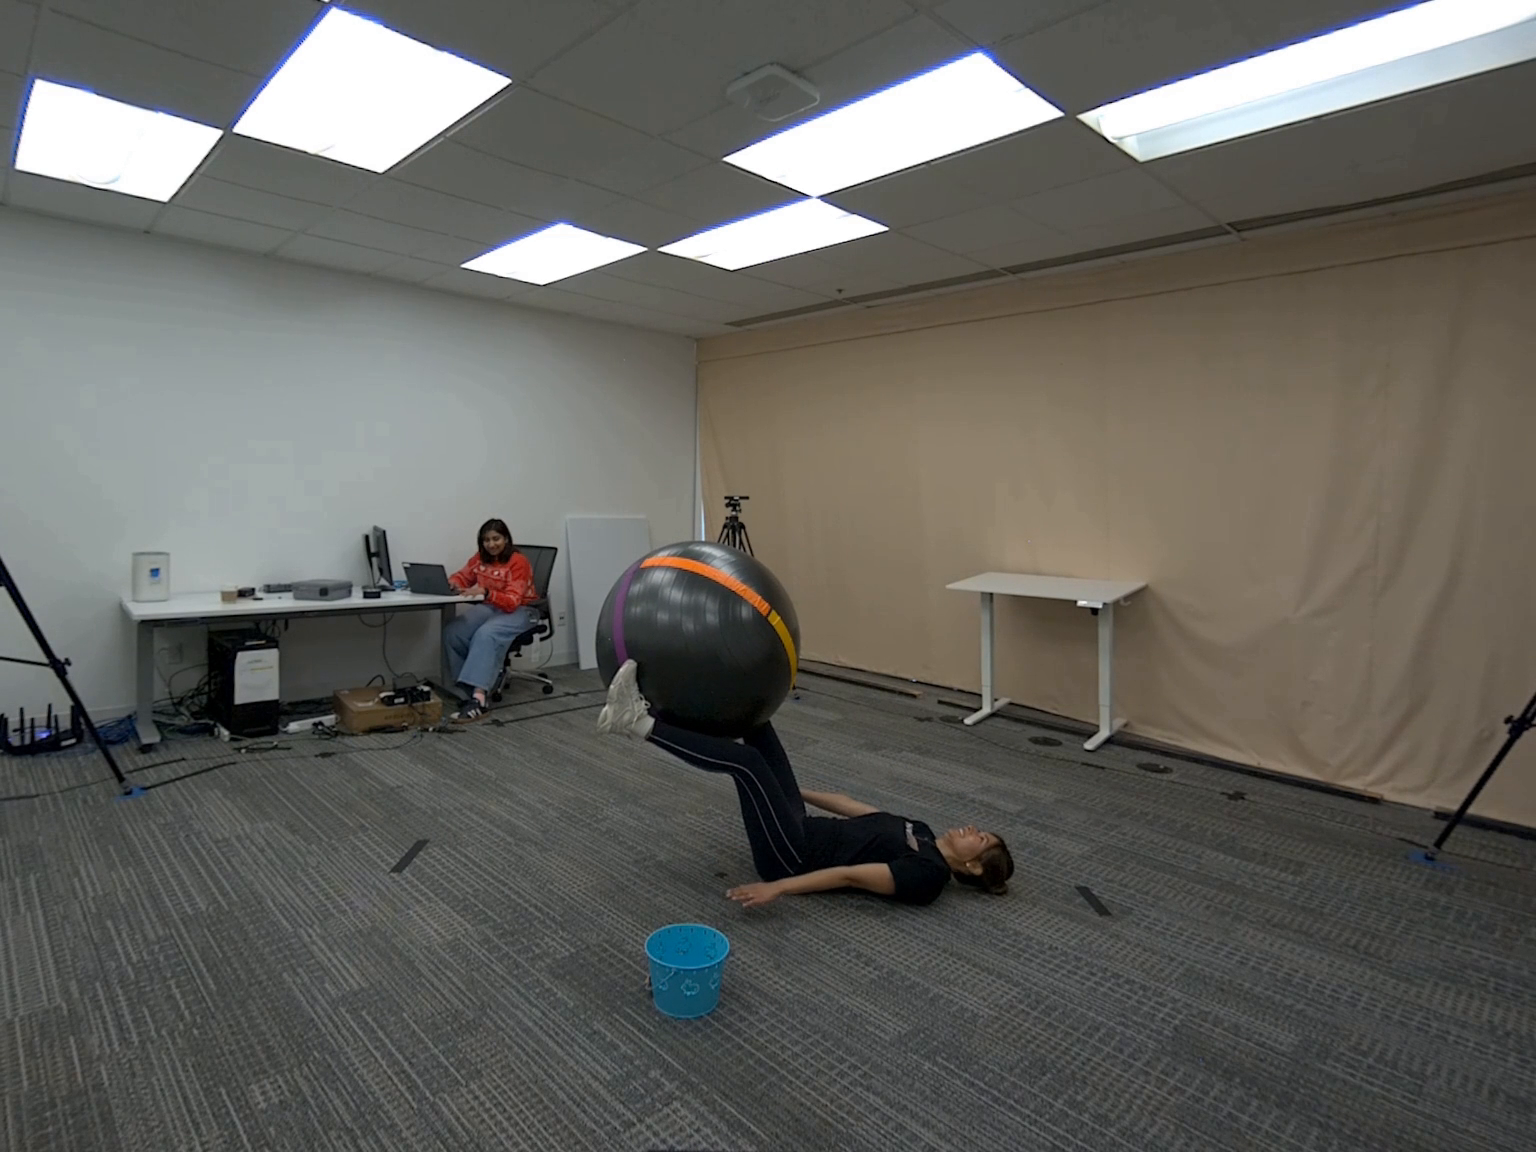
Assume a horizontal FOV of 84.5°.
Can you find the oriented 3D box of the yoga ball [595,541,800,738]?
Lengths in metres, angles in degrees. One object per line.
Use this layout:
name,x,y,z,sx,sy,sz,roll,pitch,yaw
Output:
yoga ball,-0.253,0.254,3.124,0.757,0.756,0.761,1,4,-1
